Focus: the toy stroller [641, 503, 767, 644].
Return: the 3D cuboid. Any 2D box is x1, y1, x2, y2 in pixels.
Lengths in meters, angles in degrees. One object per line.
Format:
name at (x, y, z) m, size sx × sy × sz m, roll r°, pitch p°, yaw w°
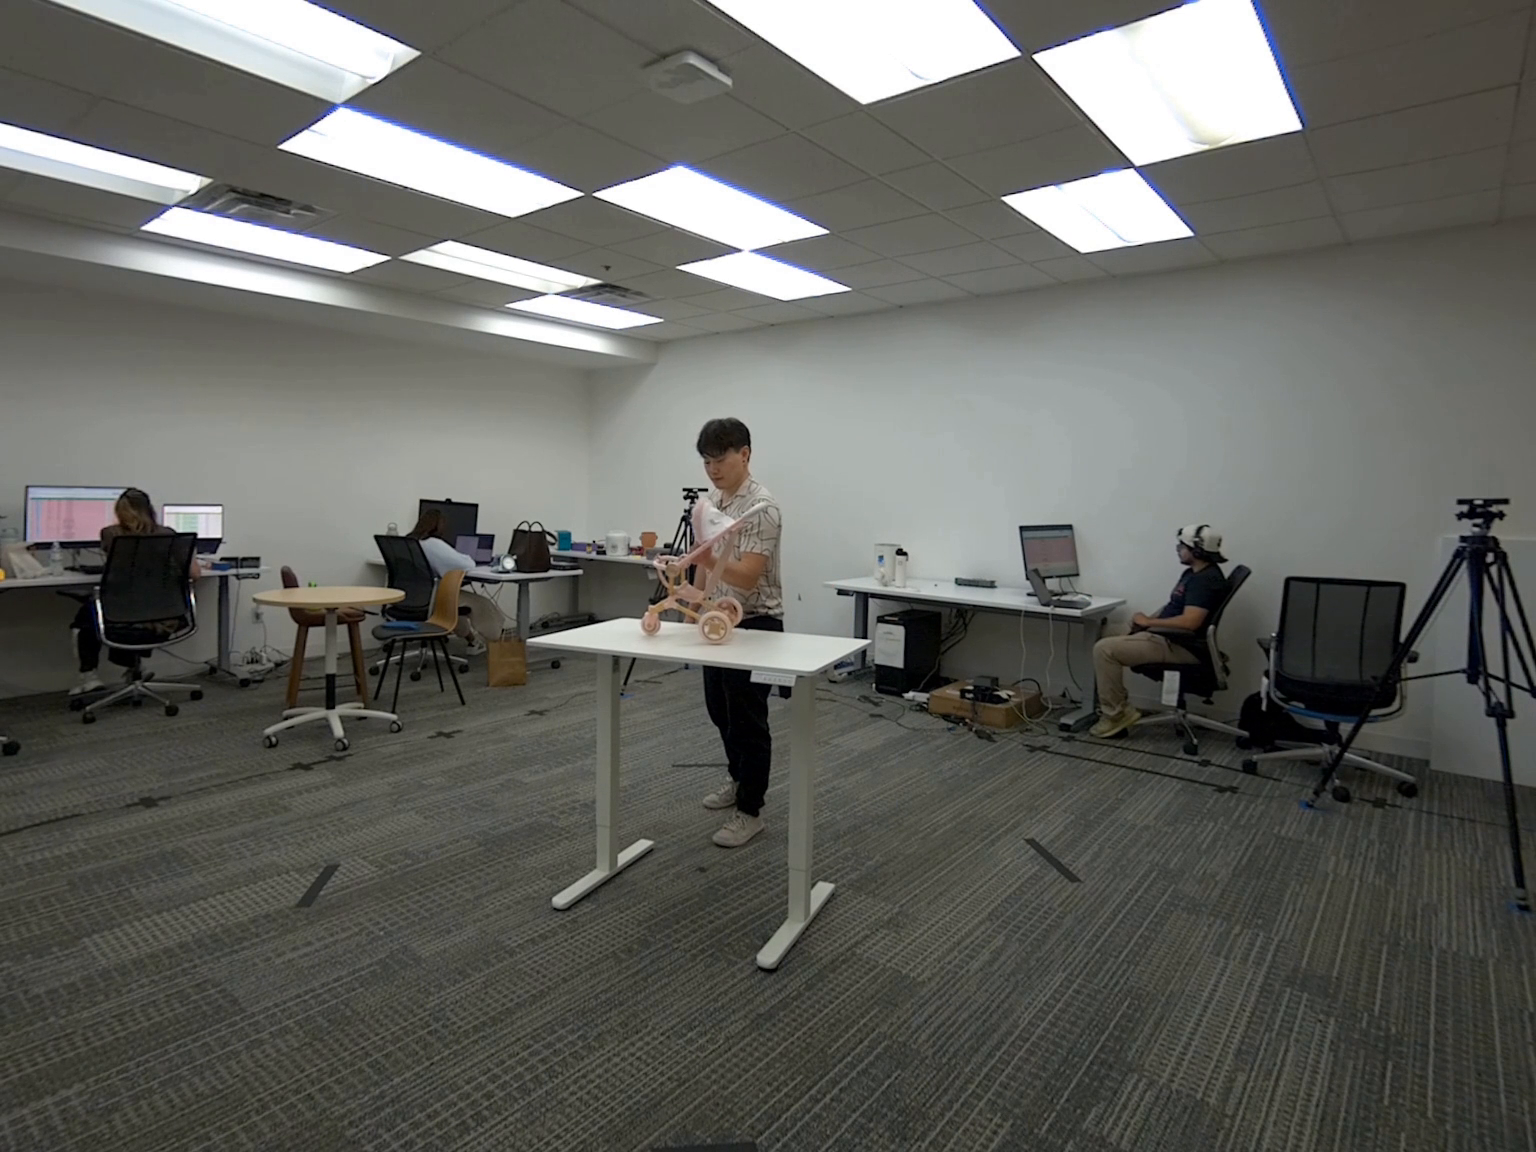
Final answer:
toy stroller at (-0.237, -0.027, 2.881) m, size 0.346 × 0.531 × 0.279 m, roll 14°, pitch 9°, yaw 11°
